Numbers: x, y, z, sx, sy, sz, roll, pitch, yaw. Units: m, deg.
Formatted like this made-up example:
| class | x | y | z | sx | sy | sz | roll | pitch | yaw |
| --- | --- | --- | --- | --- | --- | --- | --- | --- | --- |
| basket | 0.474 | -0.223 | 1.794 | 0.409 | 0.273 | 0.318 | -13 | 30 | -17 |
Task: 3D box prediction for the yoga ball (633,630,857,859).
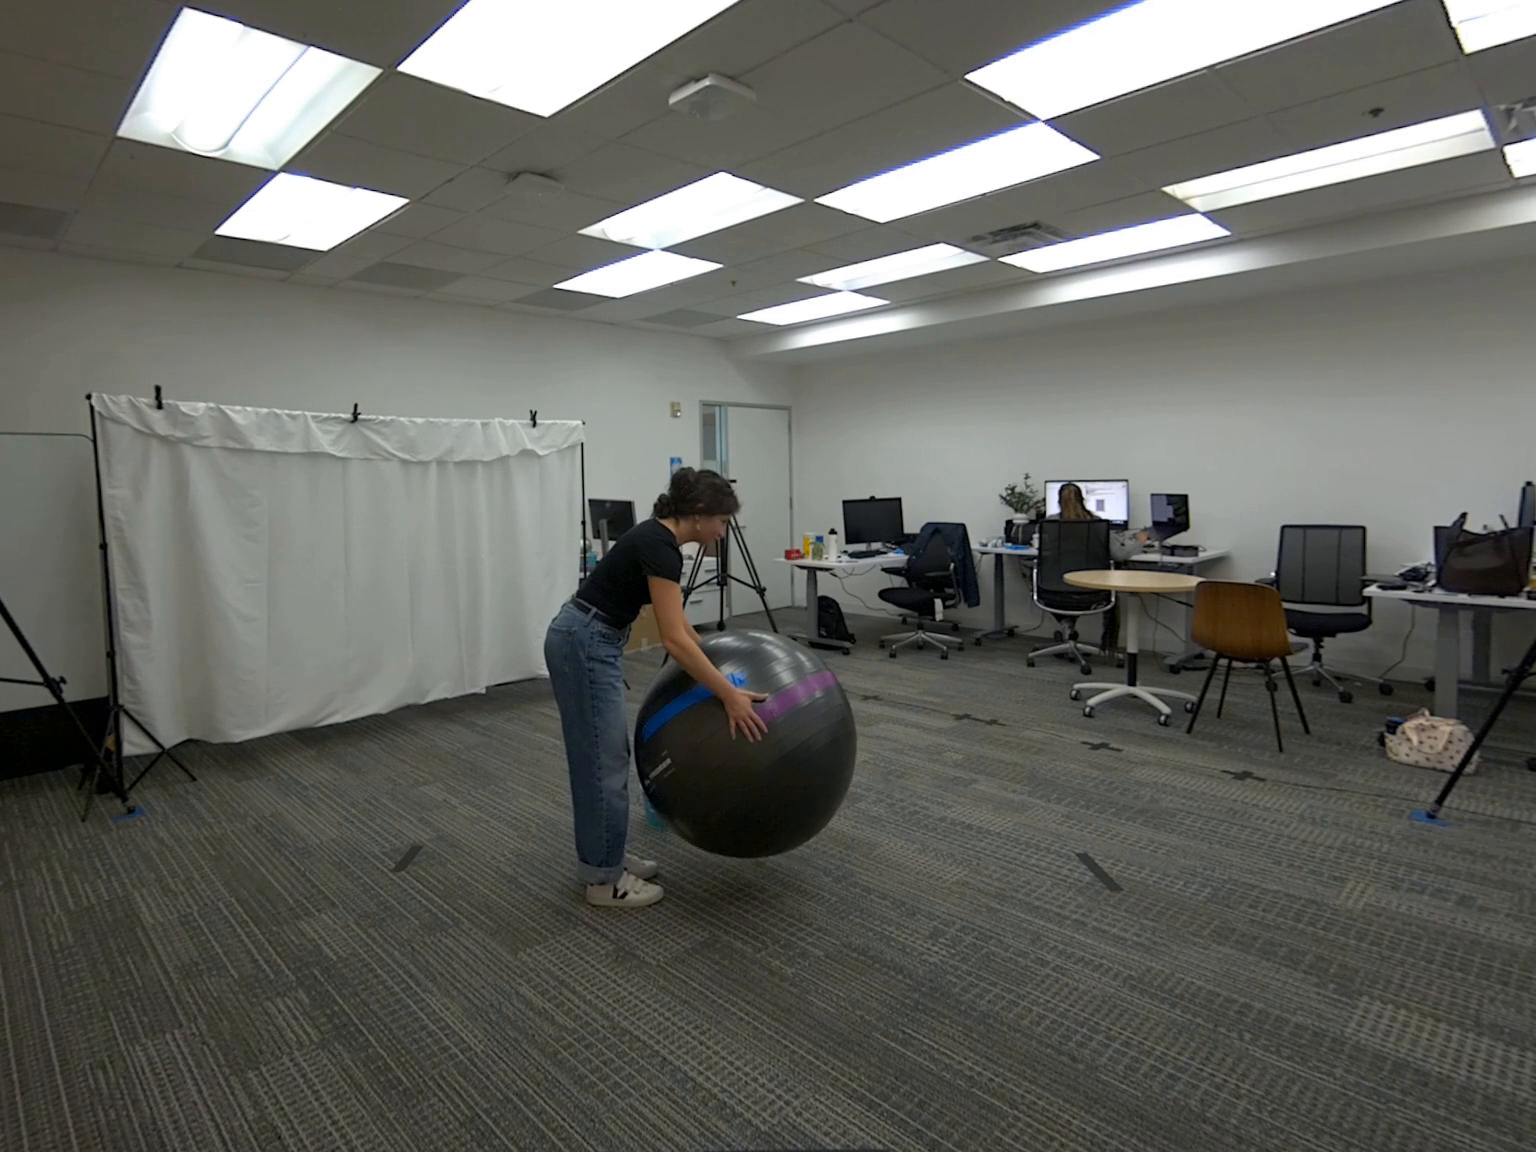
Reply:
| class | x | y | z | sx | sy | sz | roll | pitch | yaw |
| --- | --- | --- | --- | --- | --- | --- | --- | --- | --- |
| yoga ball | -0.064 | 0.580 | 2.924 | 0.757 | 0.755 | 0.762 | -1 | 5 | -2 |
